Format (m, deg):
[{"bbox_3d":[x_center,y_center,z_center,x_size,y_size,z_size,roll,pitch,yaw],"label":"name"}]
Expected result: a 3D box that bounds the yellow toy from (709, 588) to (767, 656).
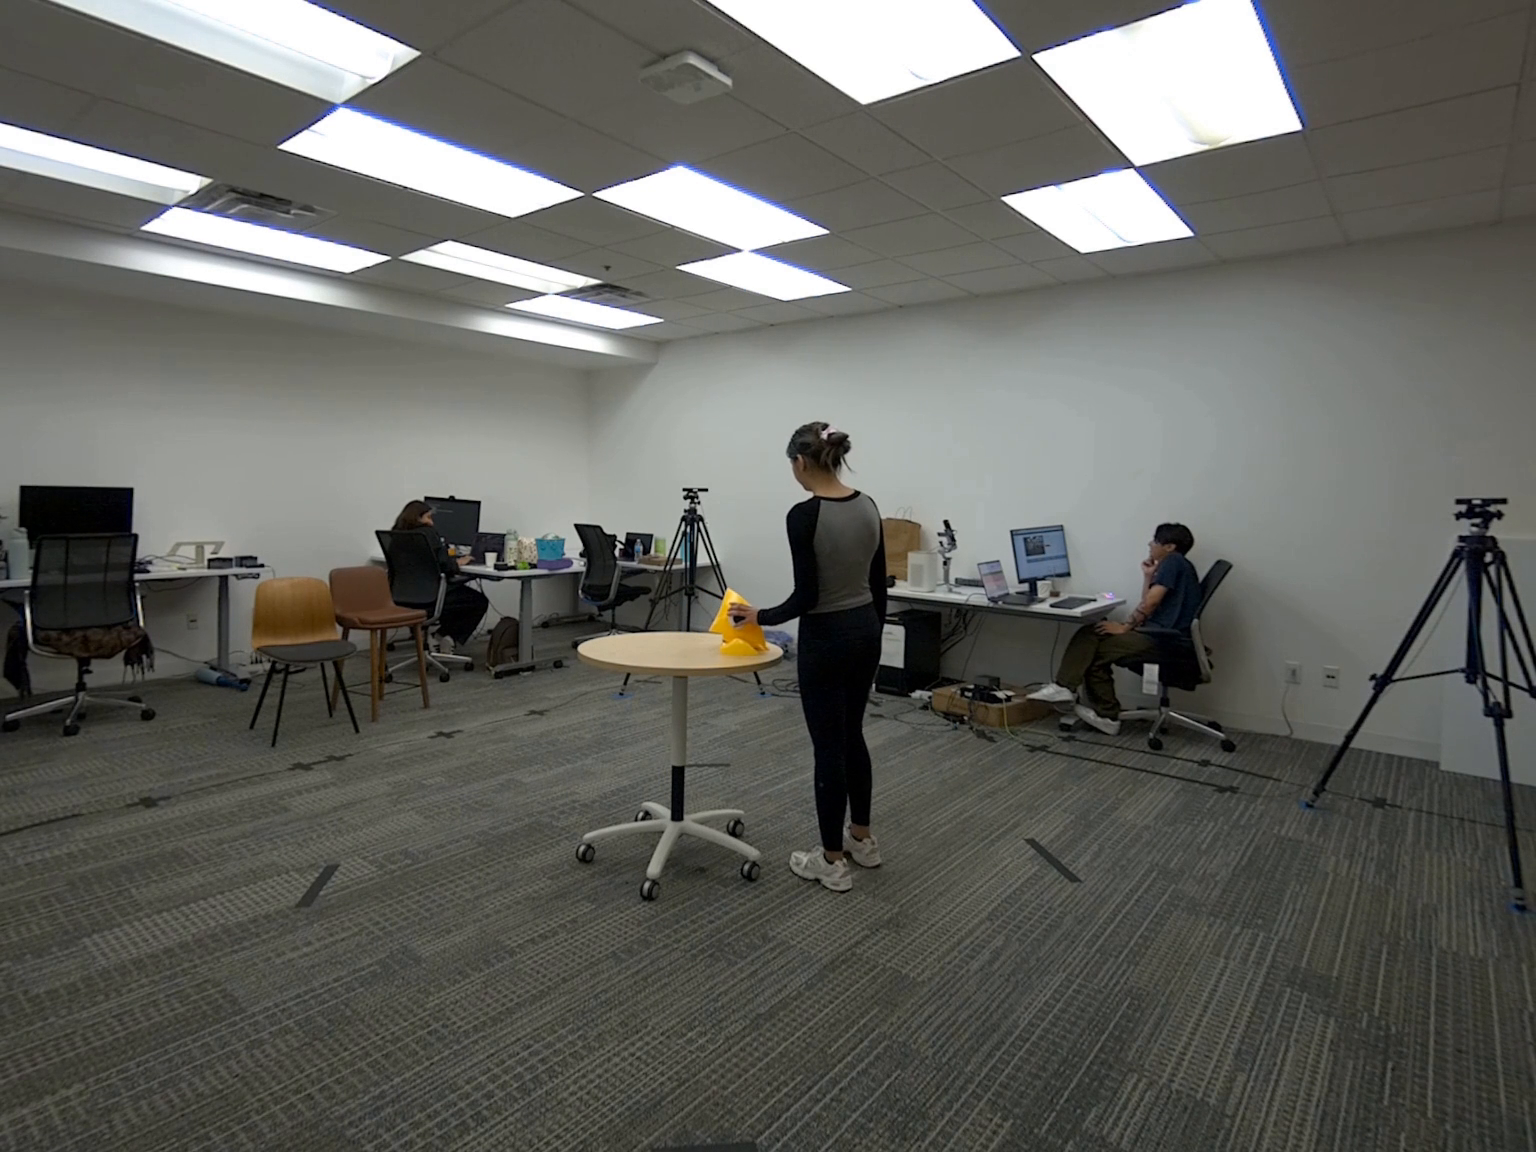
[{"bbox_3d":[-0.109,0.163,3.170,0.197,0.230,0.201,3,3,20],"label":"yellow toy"}]
